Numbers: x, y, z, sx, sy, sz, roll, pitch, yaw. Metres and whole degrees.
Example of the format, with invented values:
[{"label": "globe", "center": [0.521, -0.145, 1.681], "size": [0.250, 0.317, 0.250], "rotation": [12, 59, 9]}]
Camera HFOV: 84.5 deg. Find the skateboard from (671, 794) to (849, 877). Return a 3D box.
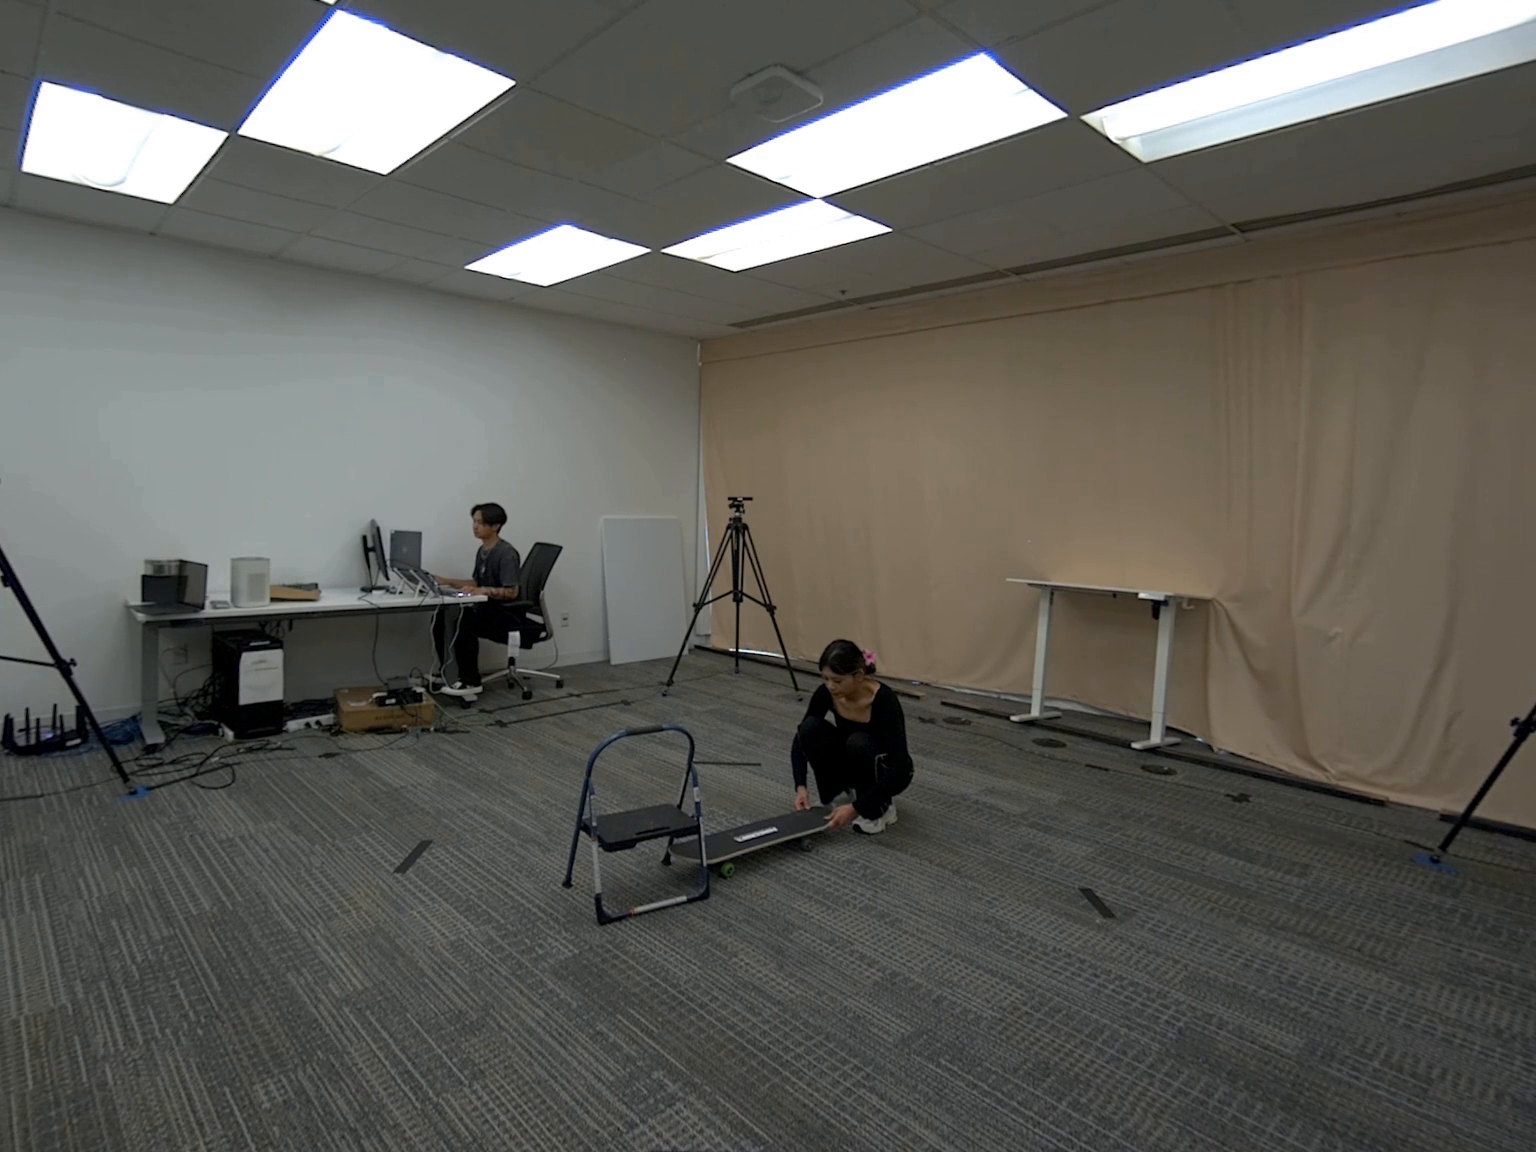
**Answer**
[{"label": "skateboard", "center": [-0.056, 1.037, 3.276], "size": [0.768, 0.110, 0.198], "rotation": [-3, 6, -39]}]
